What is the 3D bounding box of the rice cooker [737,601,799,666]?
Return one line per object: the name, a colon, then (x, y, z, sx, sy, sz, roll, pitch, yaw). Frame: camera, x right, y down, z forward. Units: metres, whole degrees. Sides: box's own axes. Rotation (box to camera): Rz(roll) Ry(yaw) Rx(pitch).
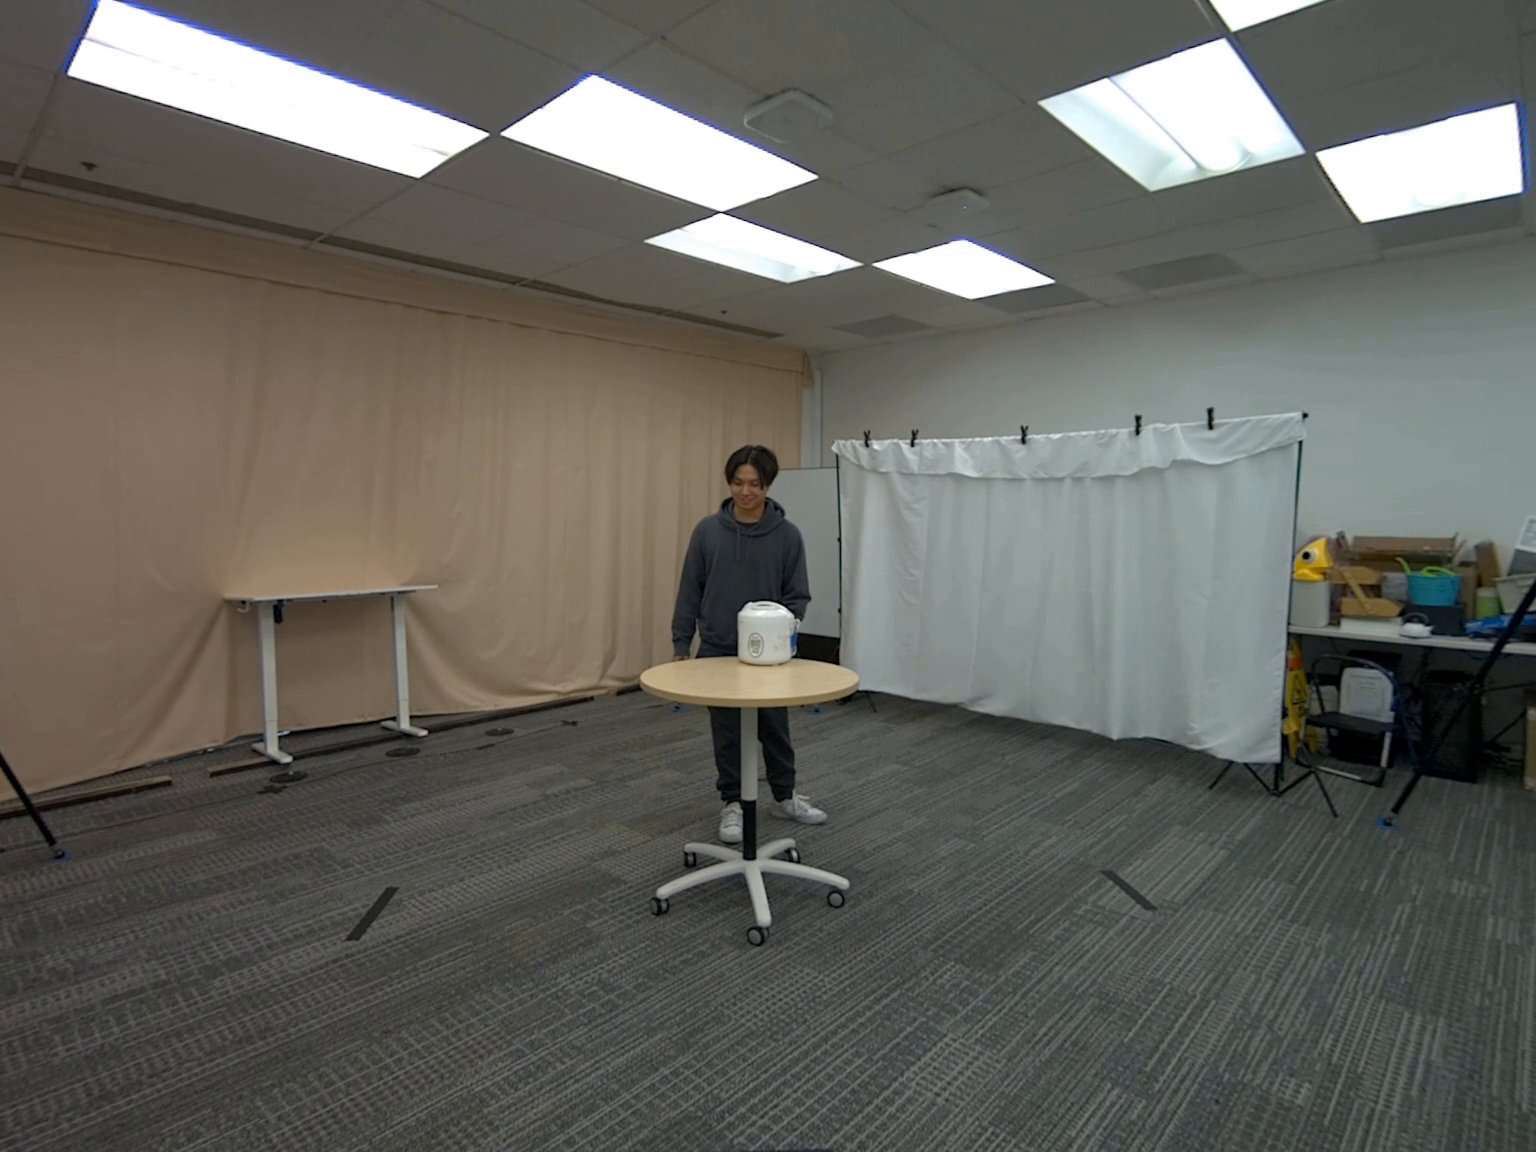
rice cooker: (-0.010, 0.212, 3.221, 0.226, 0.232, 0.213, 1, 3, 21)
